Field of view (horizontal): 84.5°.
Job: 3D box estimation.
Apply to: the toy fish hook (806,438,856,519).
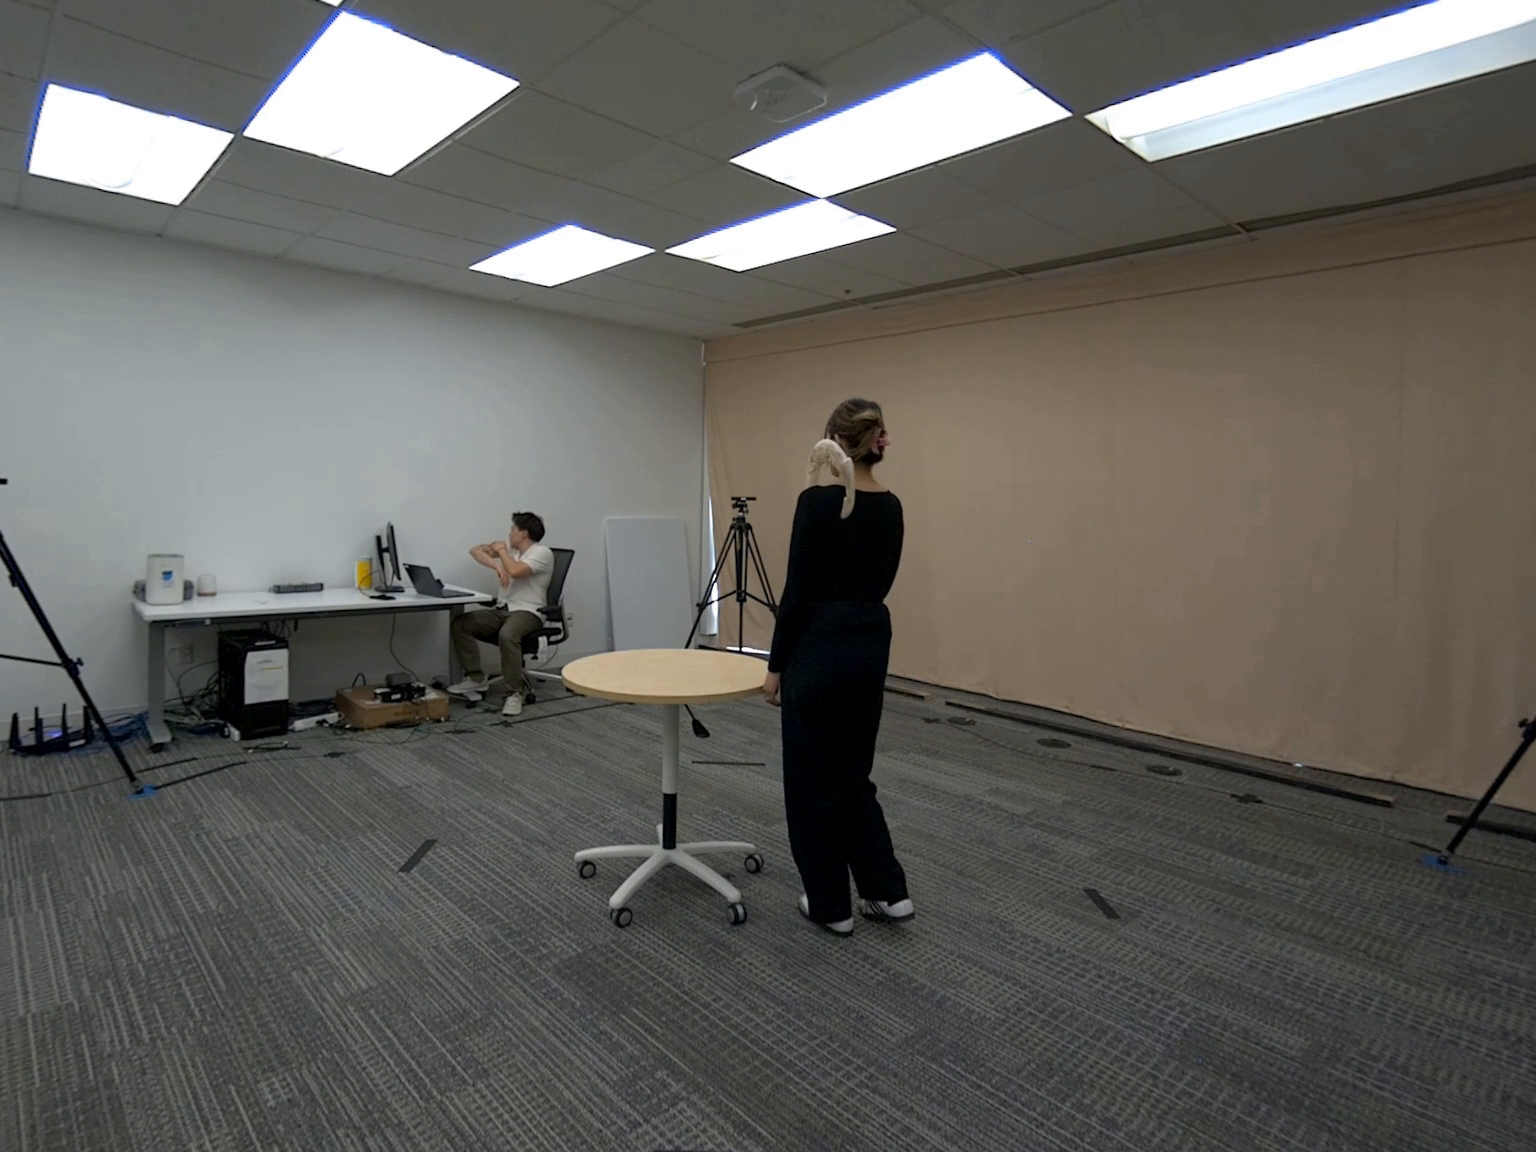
[{"bbox_3d":[0.166,-0.198,2.632,0.048,0.498,0.231,-12,51,-24],"label":"toy fish hook"}]
